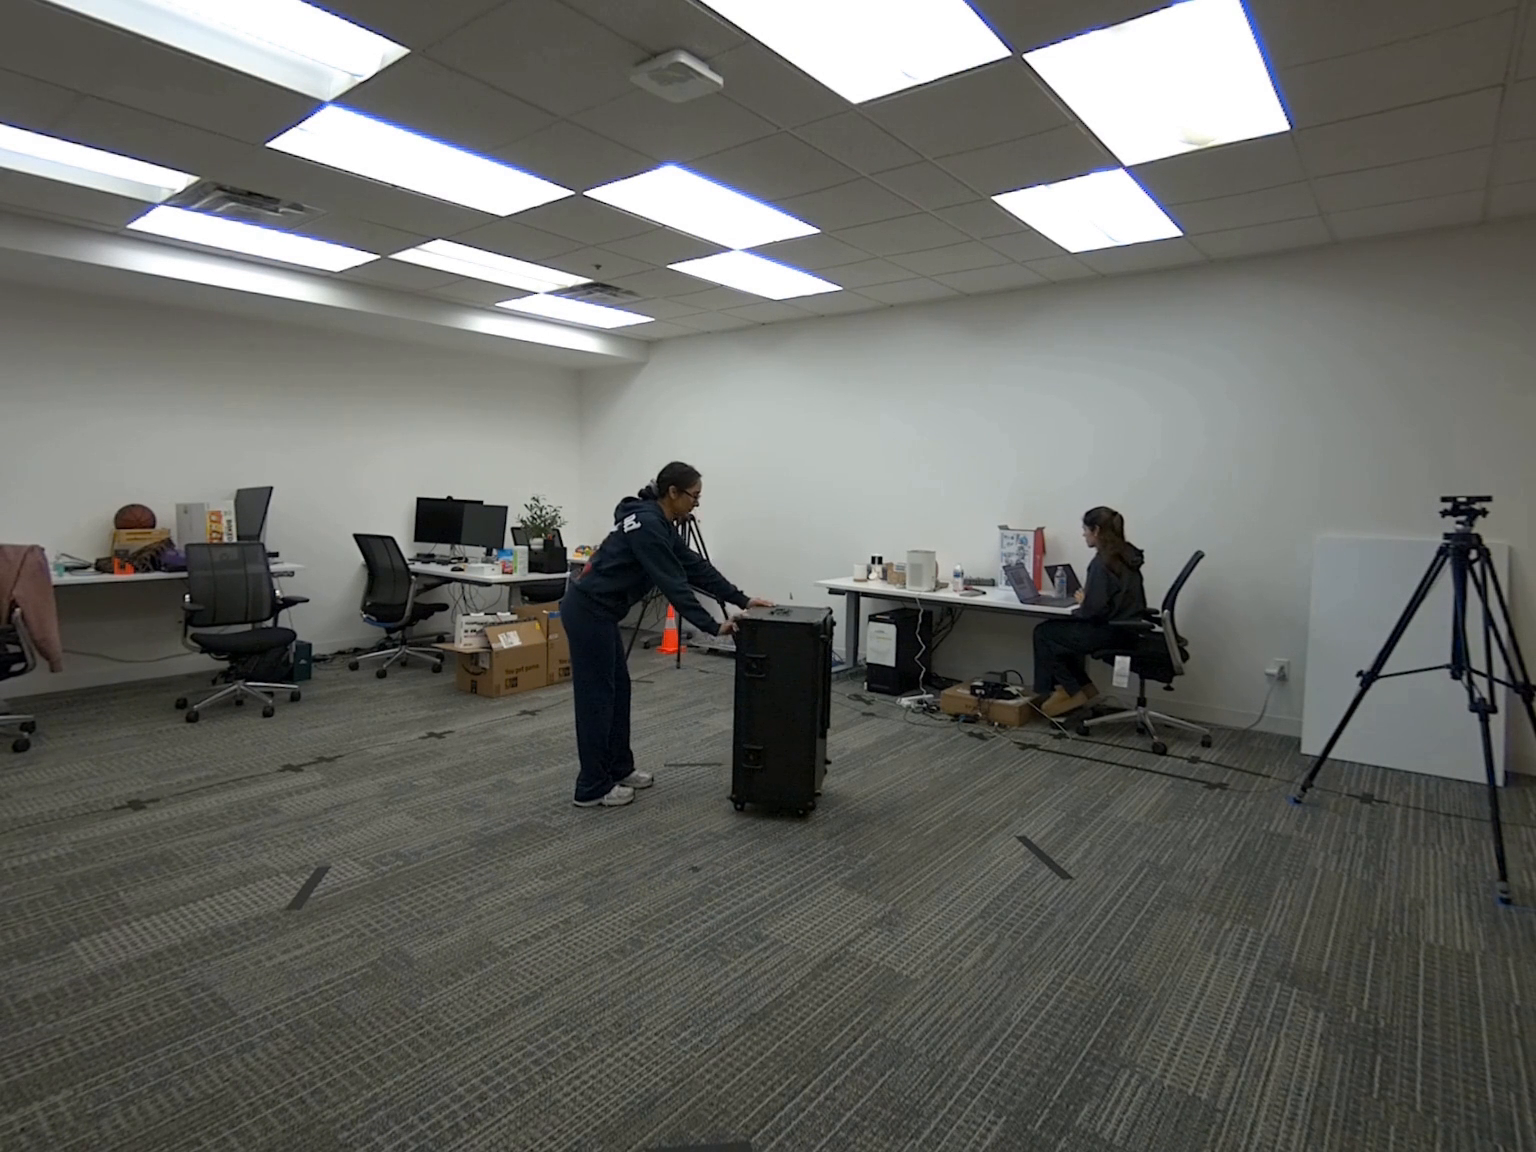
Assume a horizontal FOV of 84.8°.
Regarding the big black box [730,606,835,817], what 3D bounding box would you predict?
[{"bbox_3d":[0.069,0.582,3.766,0.402,0.858,0.515,2,4,12],"label":"big black box"}]
